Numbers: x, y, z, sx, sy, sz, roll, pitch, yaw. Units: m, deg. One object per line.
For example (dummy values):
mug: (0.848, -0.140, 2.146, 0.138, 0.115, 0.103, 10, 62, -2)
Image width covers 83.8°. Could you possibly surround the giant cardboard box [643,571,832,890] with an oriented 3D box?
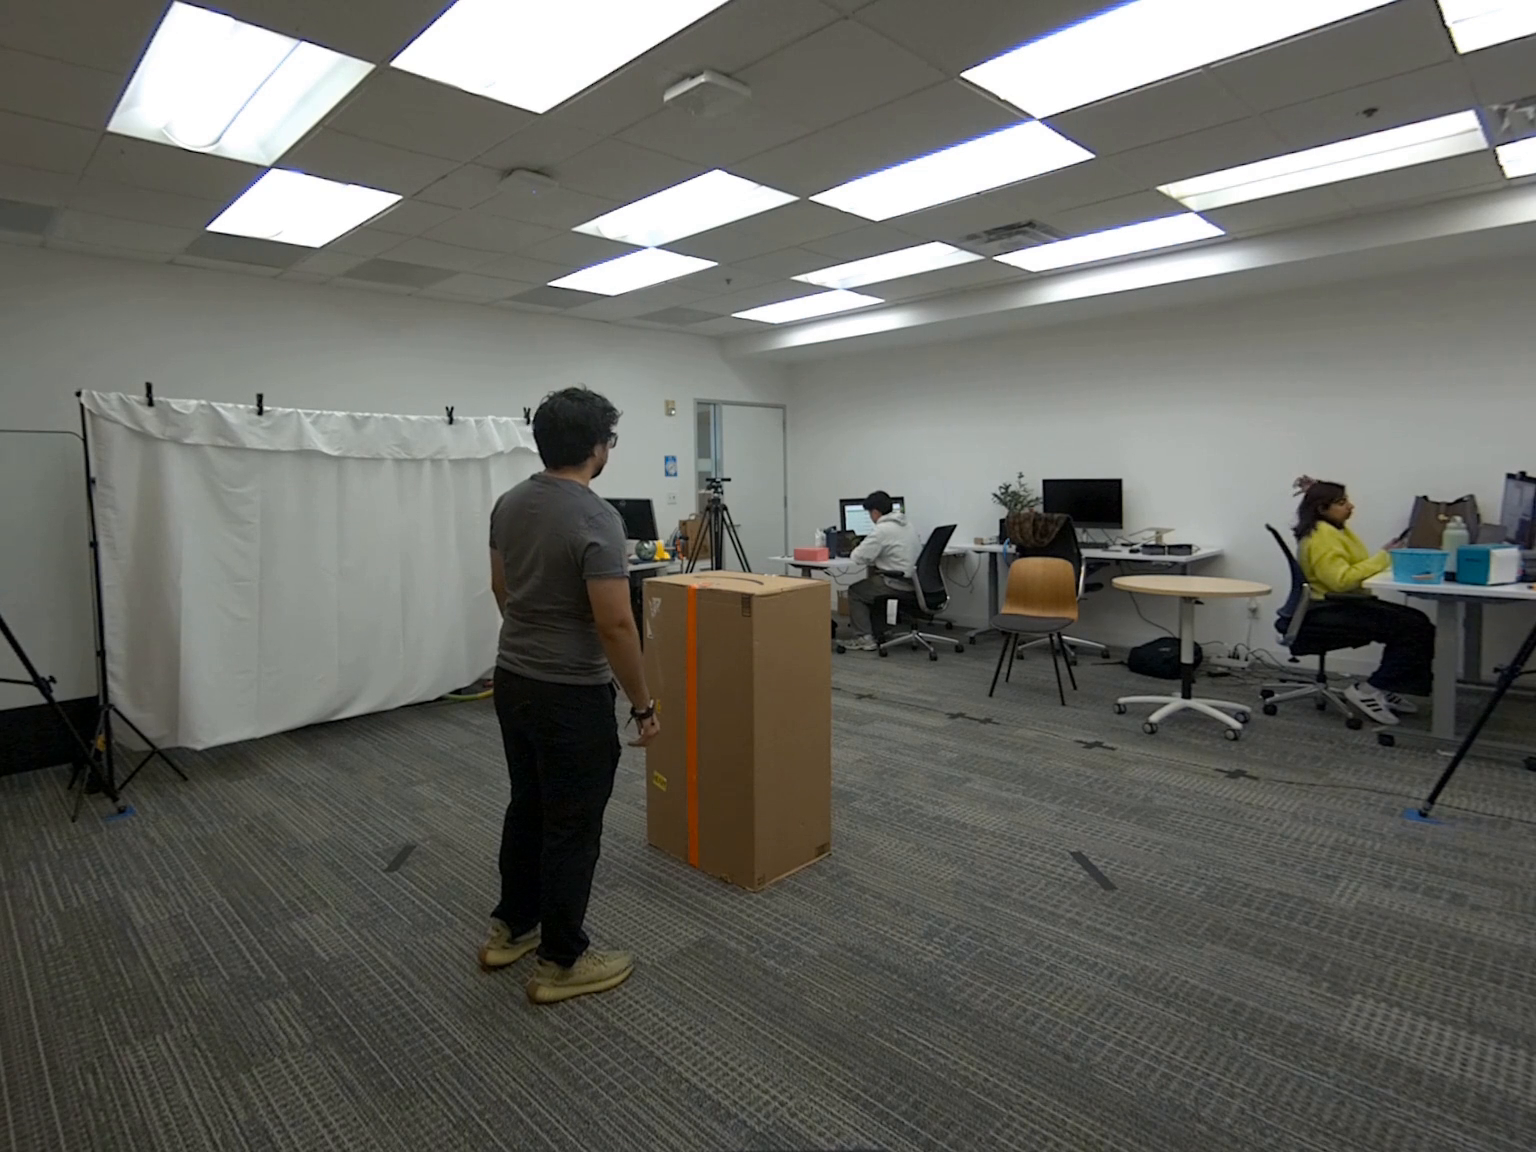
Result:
giant cardboard box: (-0.118, 0.525, 3.188, 0.595, 1.022, 0.415, 4, 6, 45)
